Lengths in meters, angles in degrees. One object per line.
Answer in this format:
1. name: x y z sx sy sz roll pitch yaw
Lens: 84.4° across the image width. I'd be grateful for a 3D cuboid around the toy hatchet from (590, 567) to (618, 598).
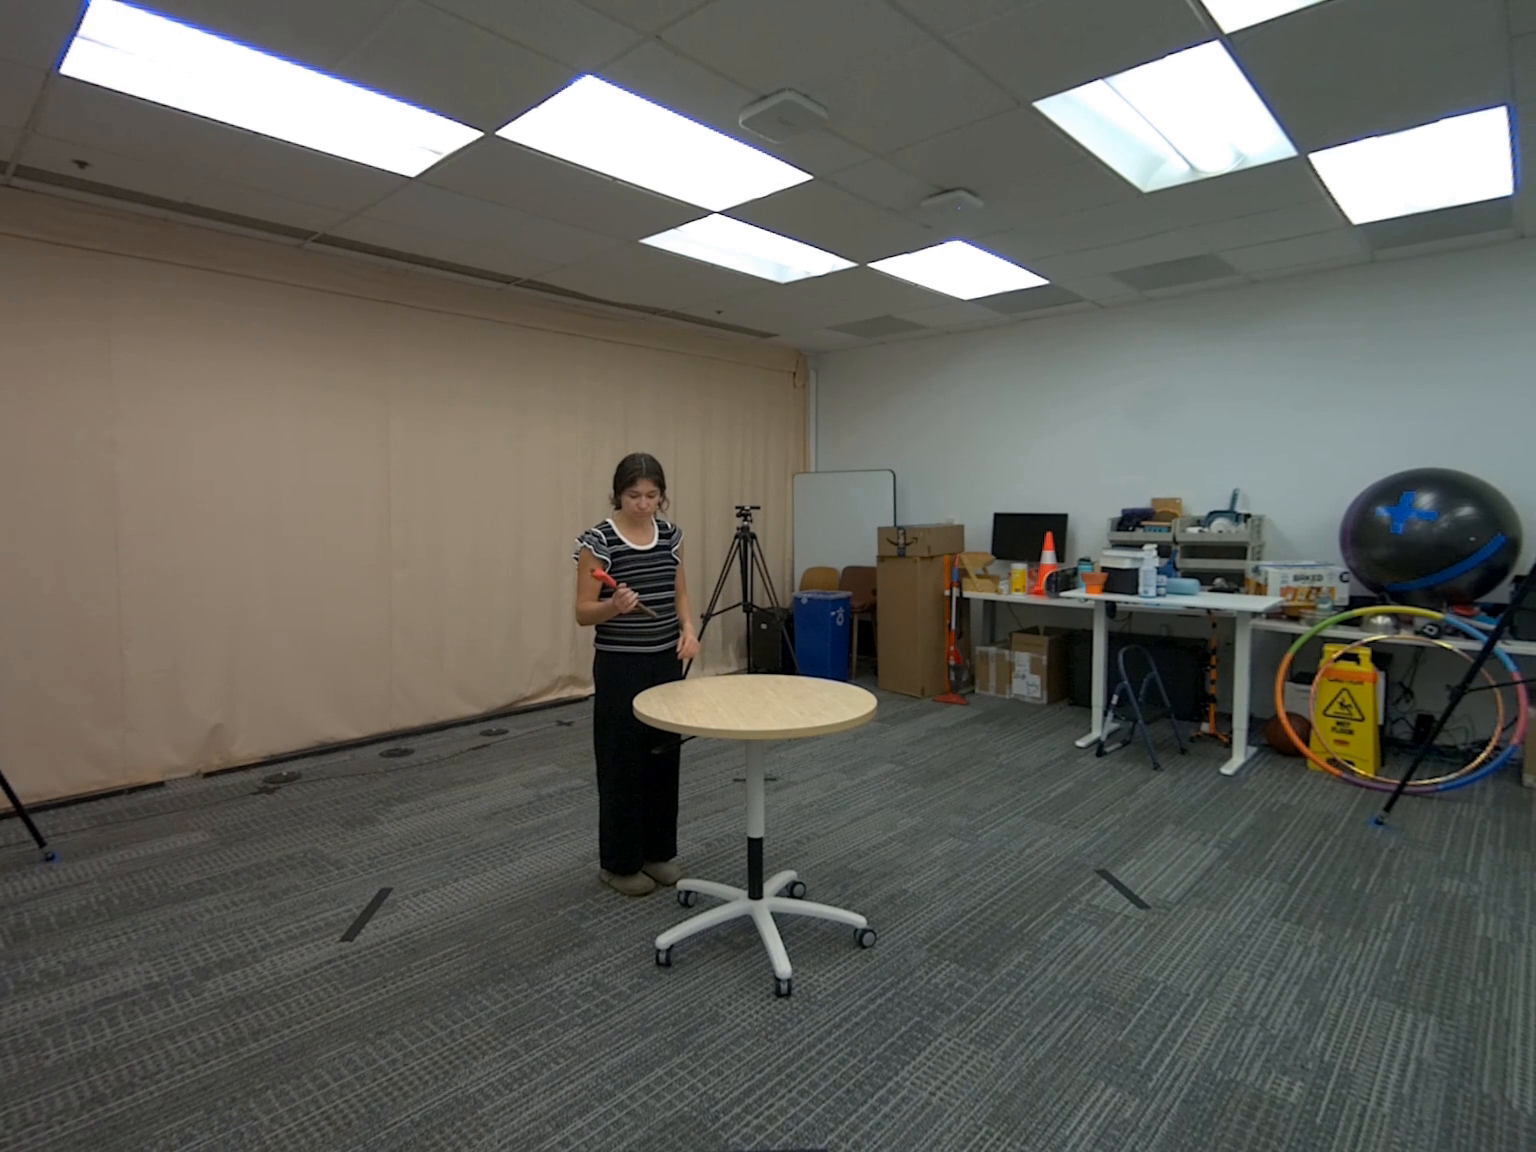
1. toy hatchet: -0.454 0.052 2.737 0.269 0.029 0.132 32 -14 -4
